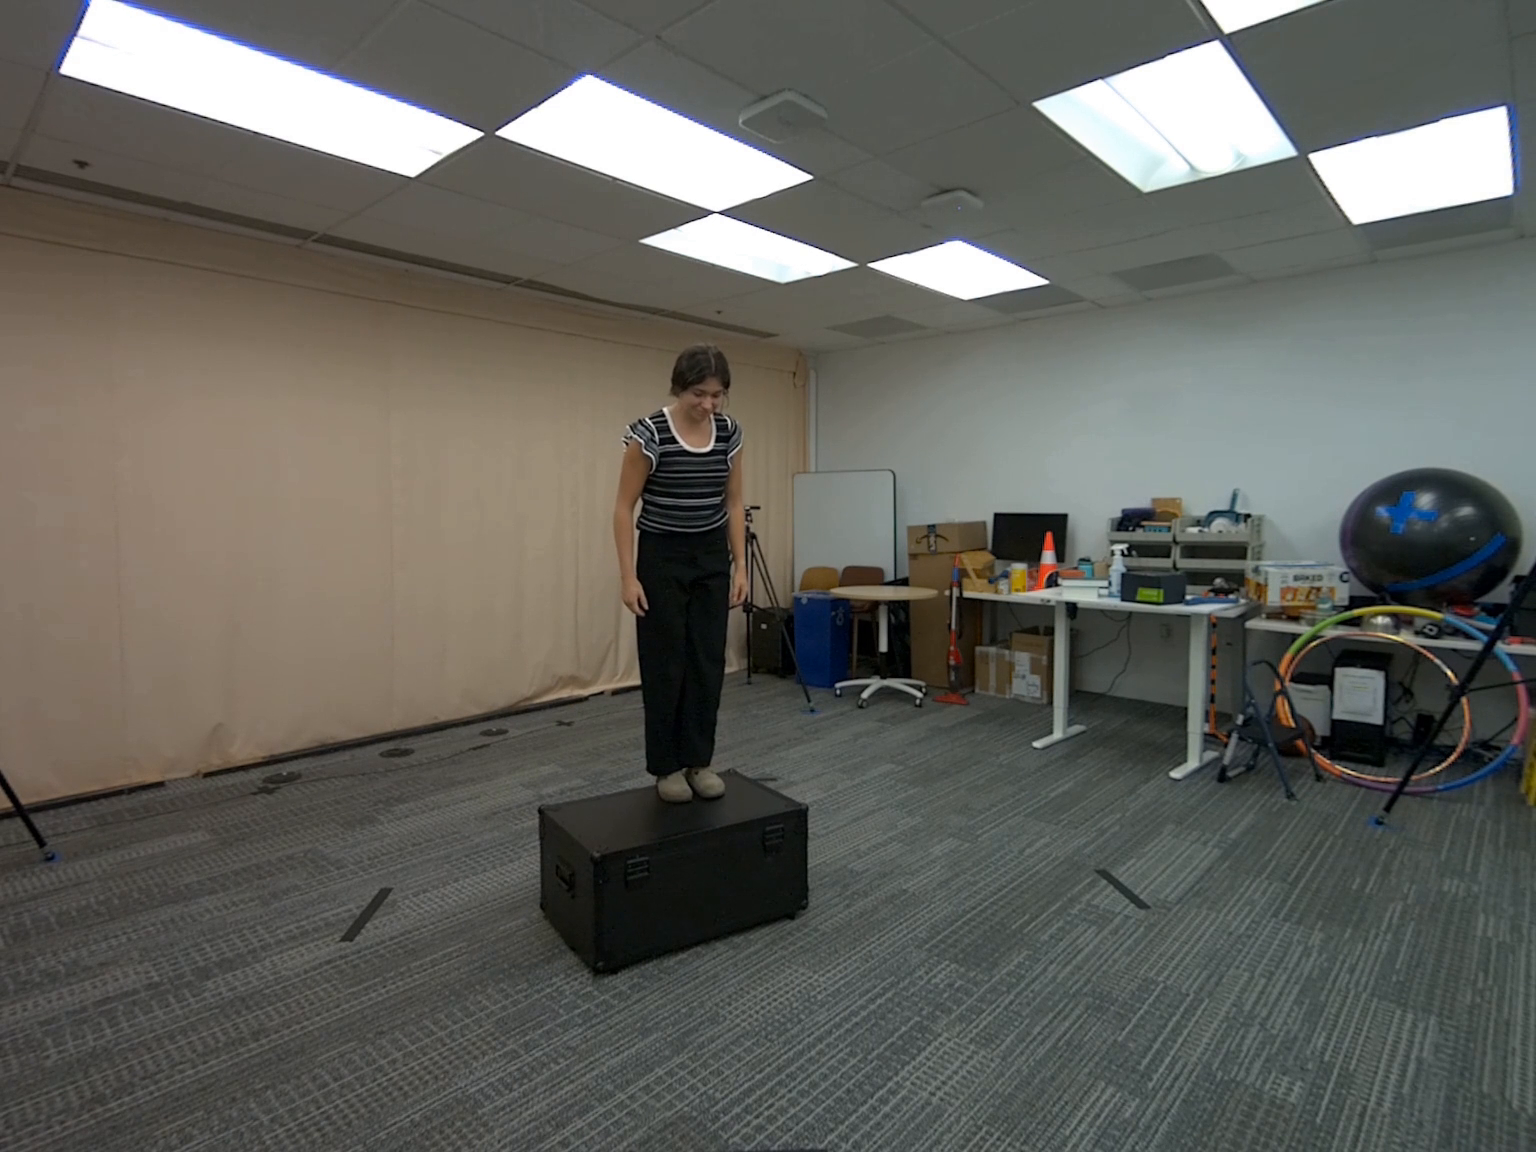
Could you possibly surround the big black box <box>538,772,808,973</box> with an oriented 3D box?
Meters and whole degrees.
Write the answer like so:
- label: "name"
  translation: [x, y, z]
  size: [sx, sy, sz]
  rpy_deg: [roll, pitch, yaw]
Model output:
- label: "big black box"
  translation: [-0.292, 0.966, 2.874]
  size: [0.838, 0.395, 0.537]
  rpy_deg: [-4, 5, -32]
